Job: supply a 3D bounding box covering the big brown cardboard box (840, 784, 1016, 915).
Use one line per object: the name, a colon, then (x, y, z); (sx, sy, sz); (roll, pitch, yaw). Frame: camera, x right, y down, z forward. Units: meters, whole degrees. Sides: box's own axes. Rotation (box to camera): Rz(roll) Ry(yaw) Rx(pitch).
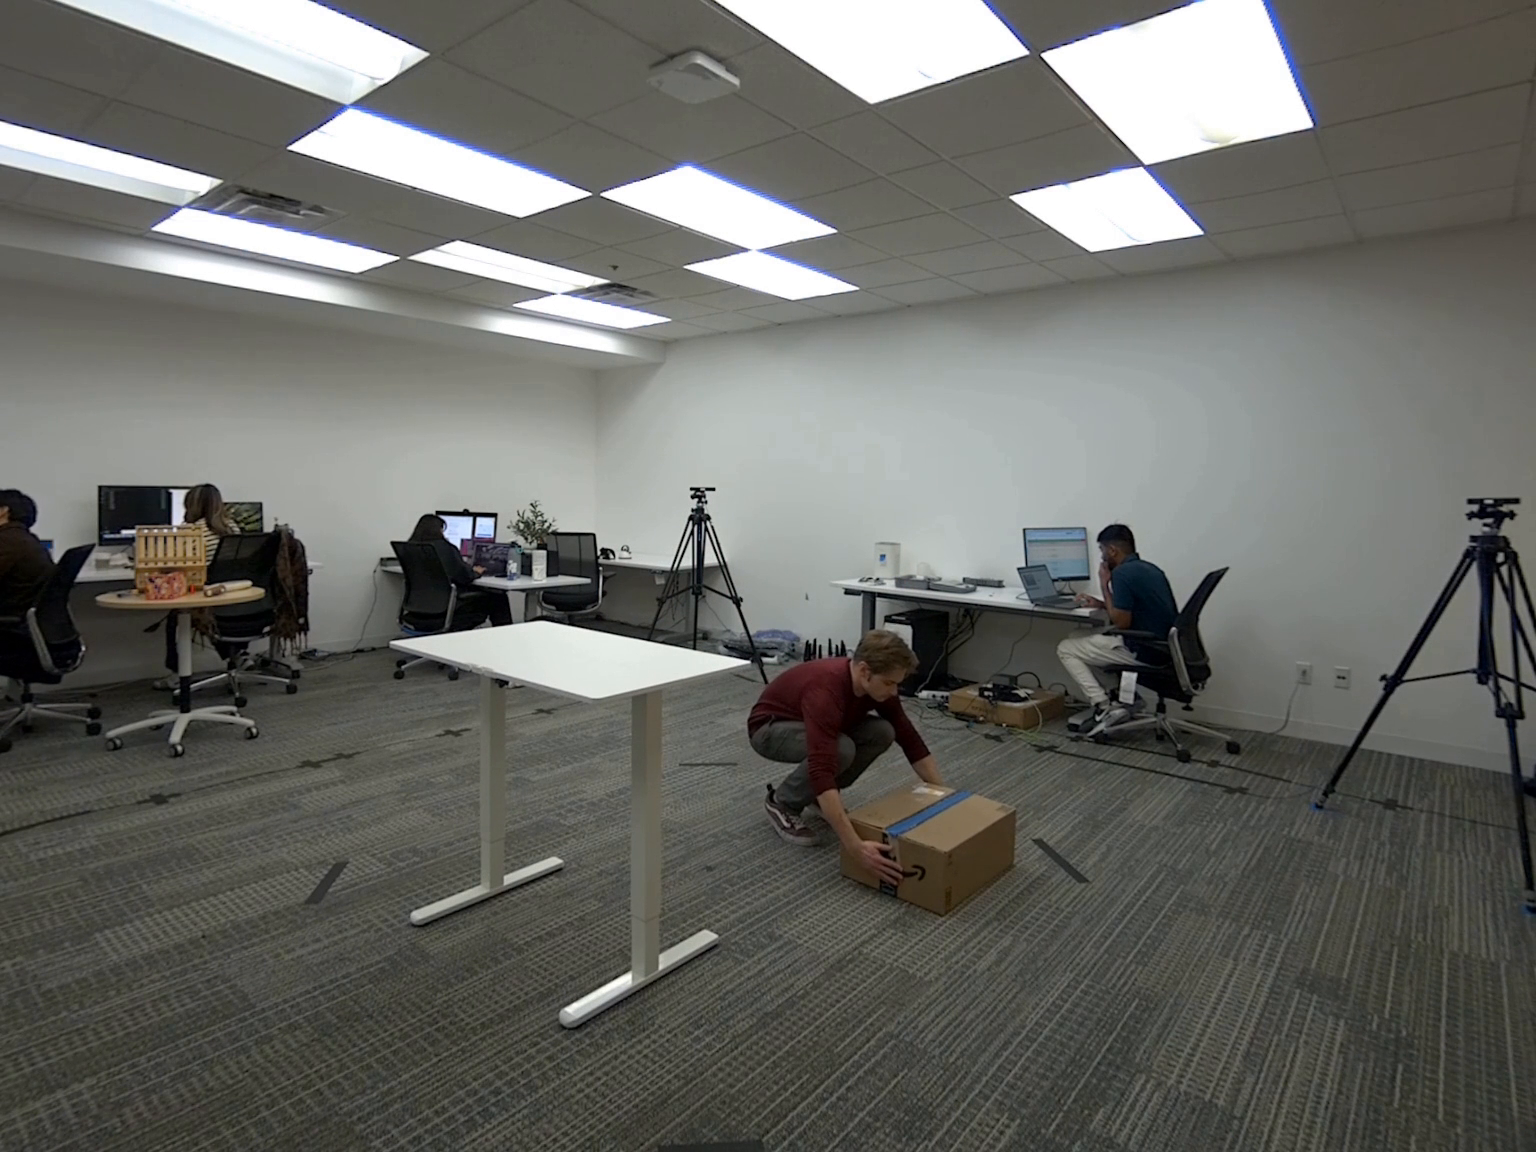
big brown cardboard box: (0.597, 0.972, 3.140); (0.432, 0.232, 0.572); (6, 8, 40)
